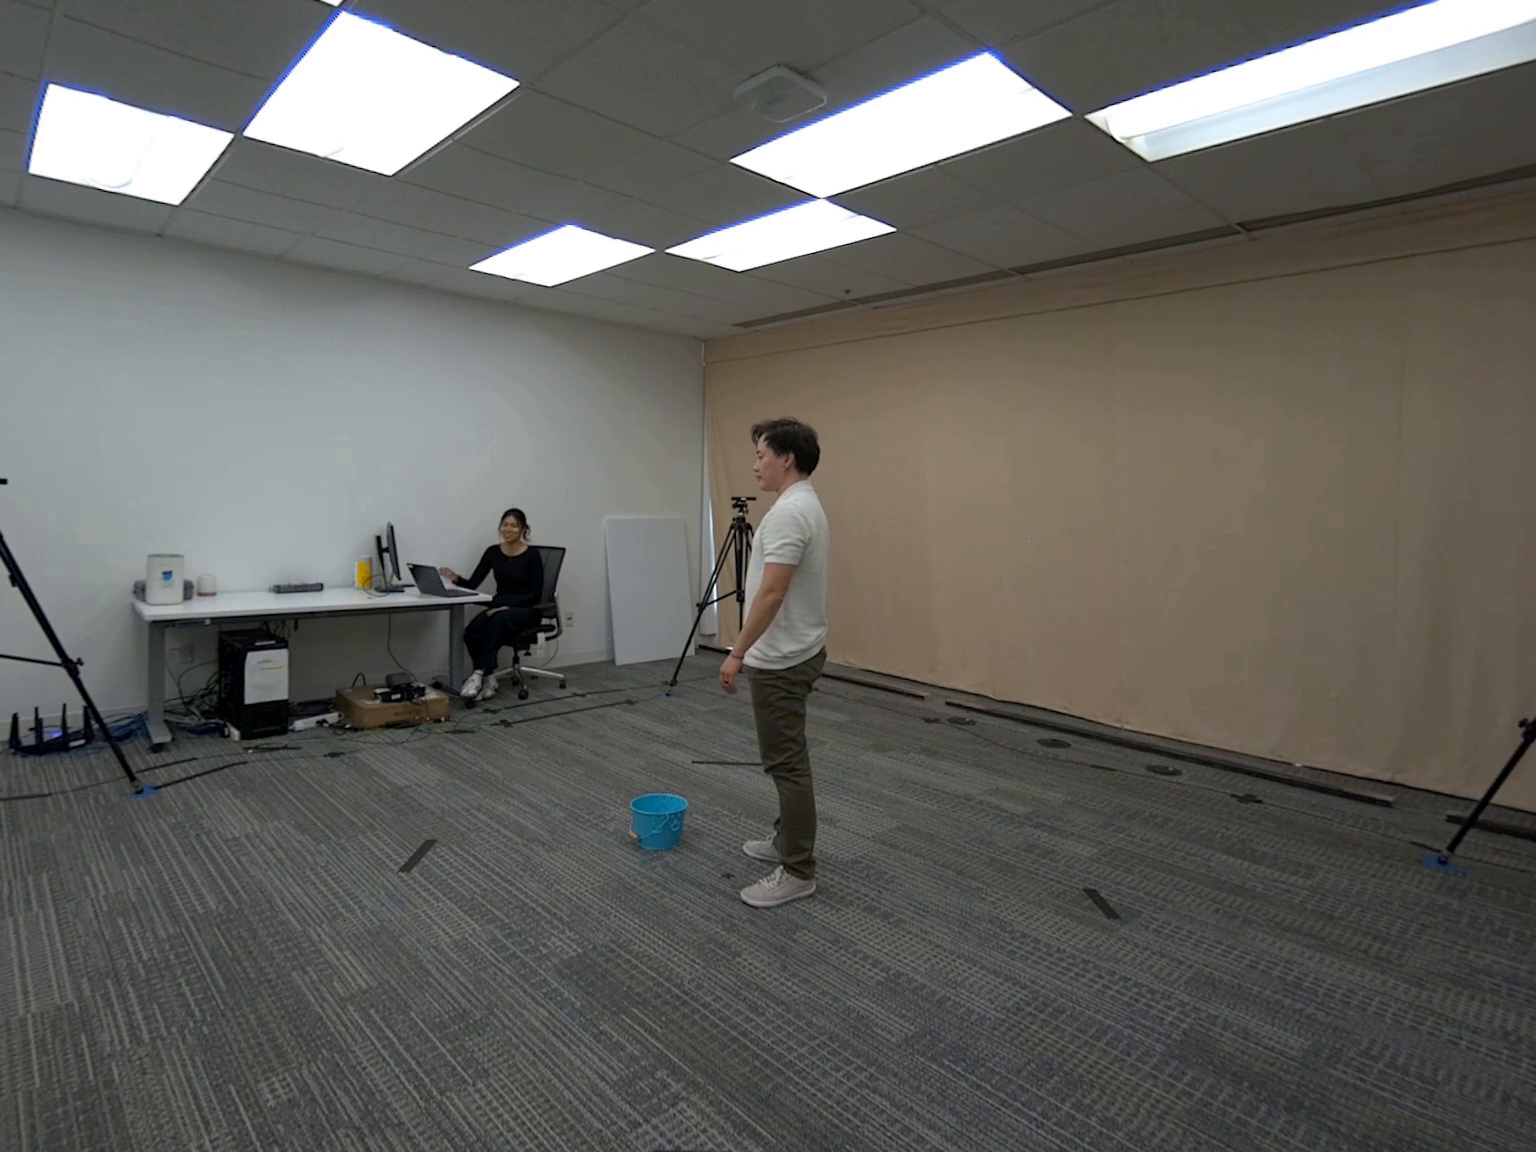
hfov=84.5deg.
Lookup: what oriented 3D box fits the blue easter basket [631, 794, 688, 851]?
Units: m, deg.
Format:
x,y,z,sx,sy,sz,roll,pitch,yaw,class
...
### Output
x,y,z,sx,sy,sz,roll,pitch,yaw,class
-0.455,0.995,3.405,0.243,0.155,0.244,2,4,-1,blue easter basket
